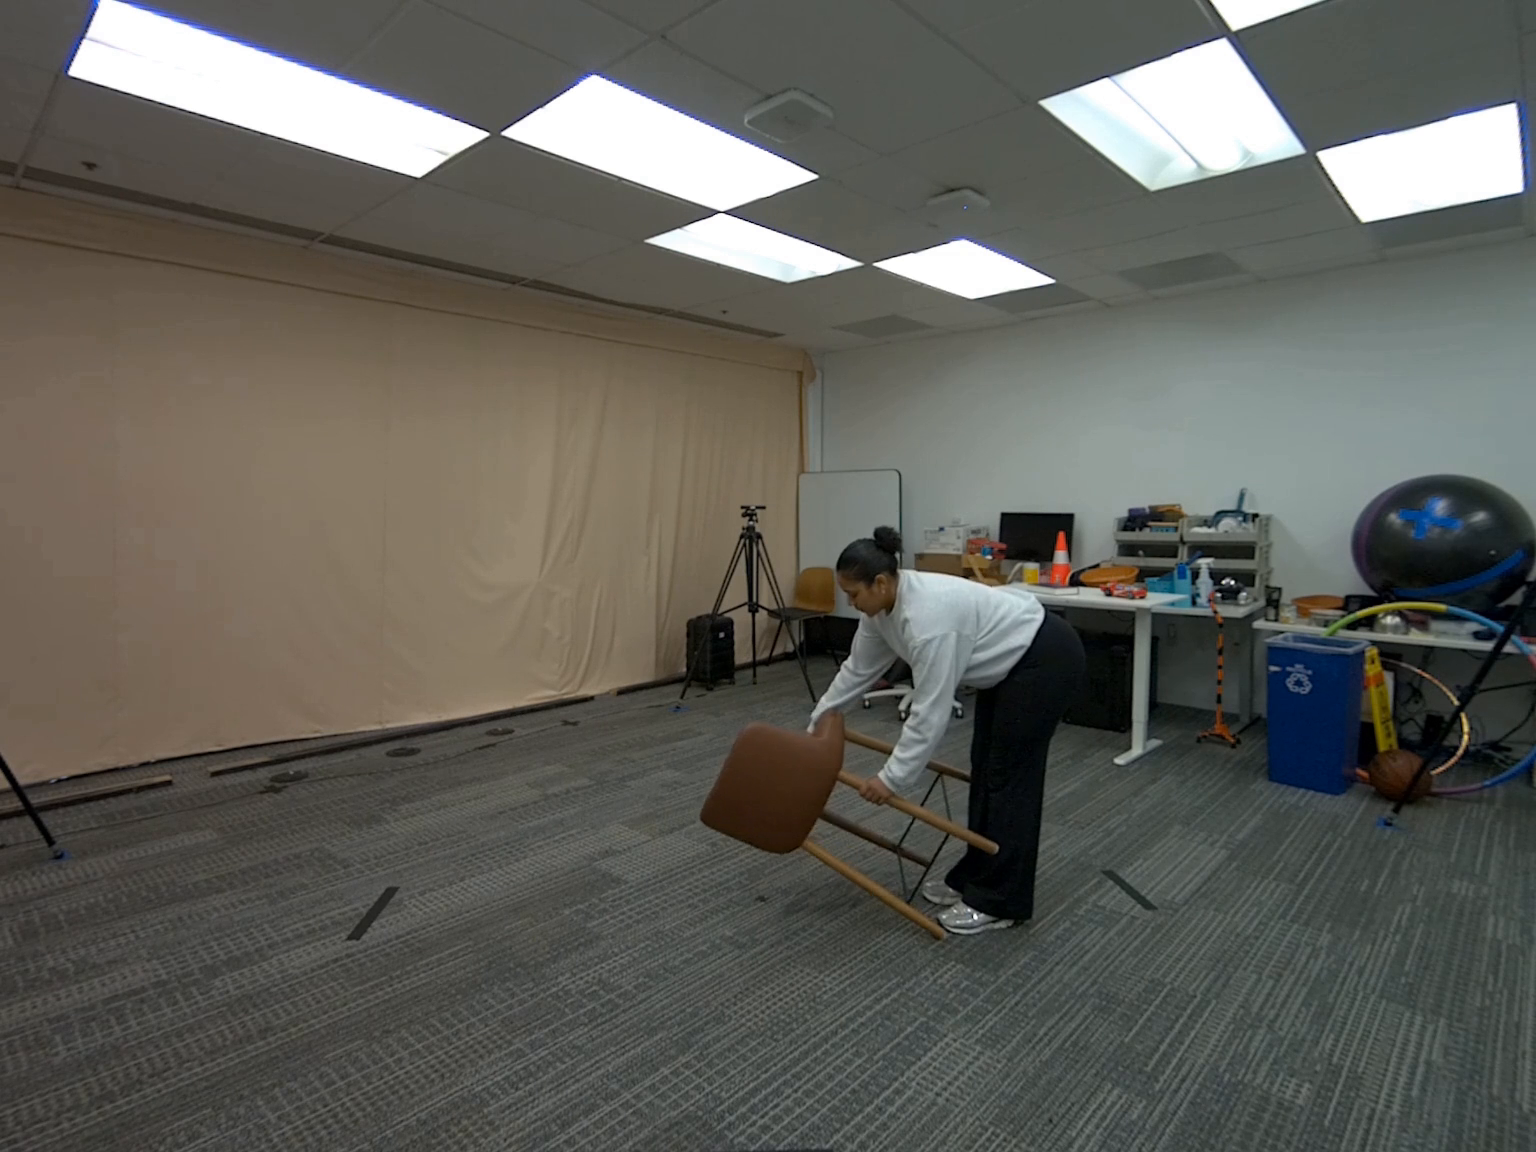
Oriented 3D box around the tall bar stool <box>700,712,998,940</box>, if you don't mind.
[{"bbox_3d":[0.276,0.780,2.875,0.892,0.455,0.467,24,15,1],"label":"tall bar stool"}]
